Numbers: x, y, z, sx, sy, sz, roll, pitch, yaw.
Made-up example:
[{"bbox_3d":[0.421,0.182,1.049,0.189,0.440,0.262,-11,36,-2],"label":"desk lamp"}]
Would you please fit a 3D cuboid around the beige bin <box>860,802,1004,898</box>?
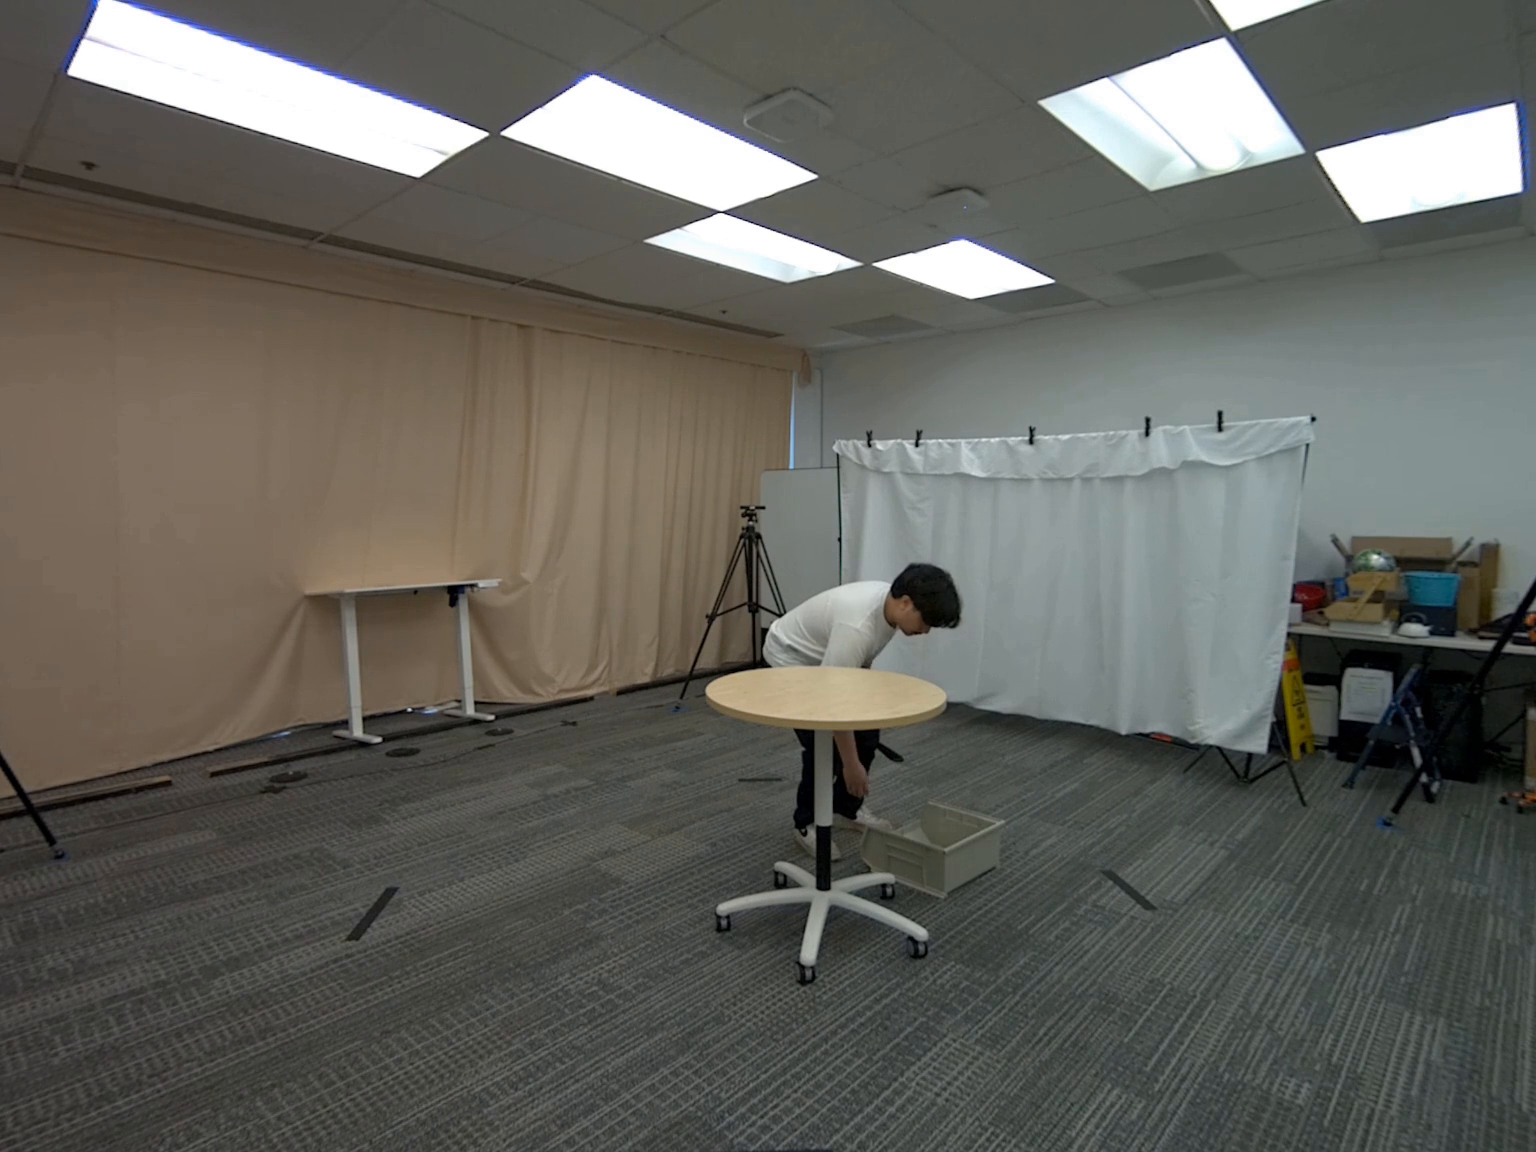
[{"bbox_3d":[0.634,1.031,3.237,0.390,0.188,0.409,6,7,44],"label":"beige bin"}]
